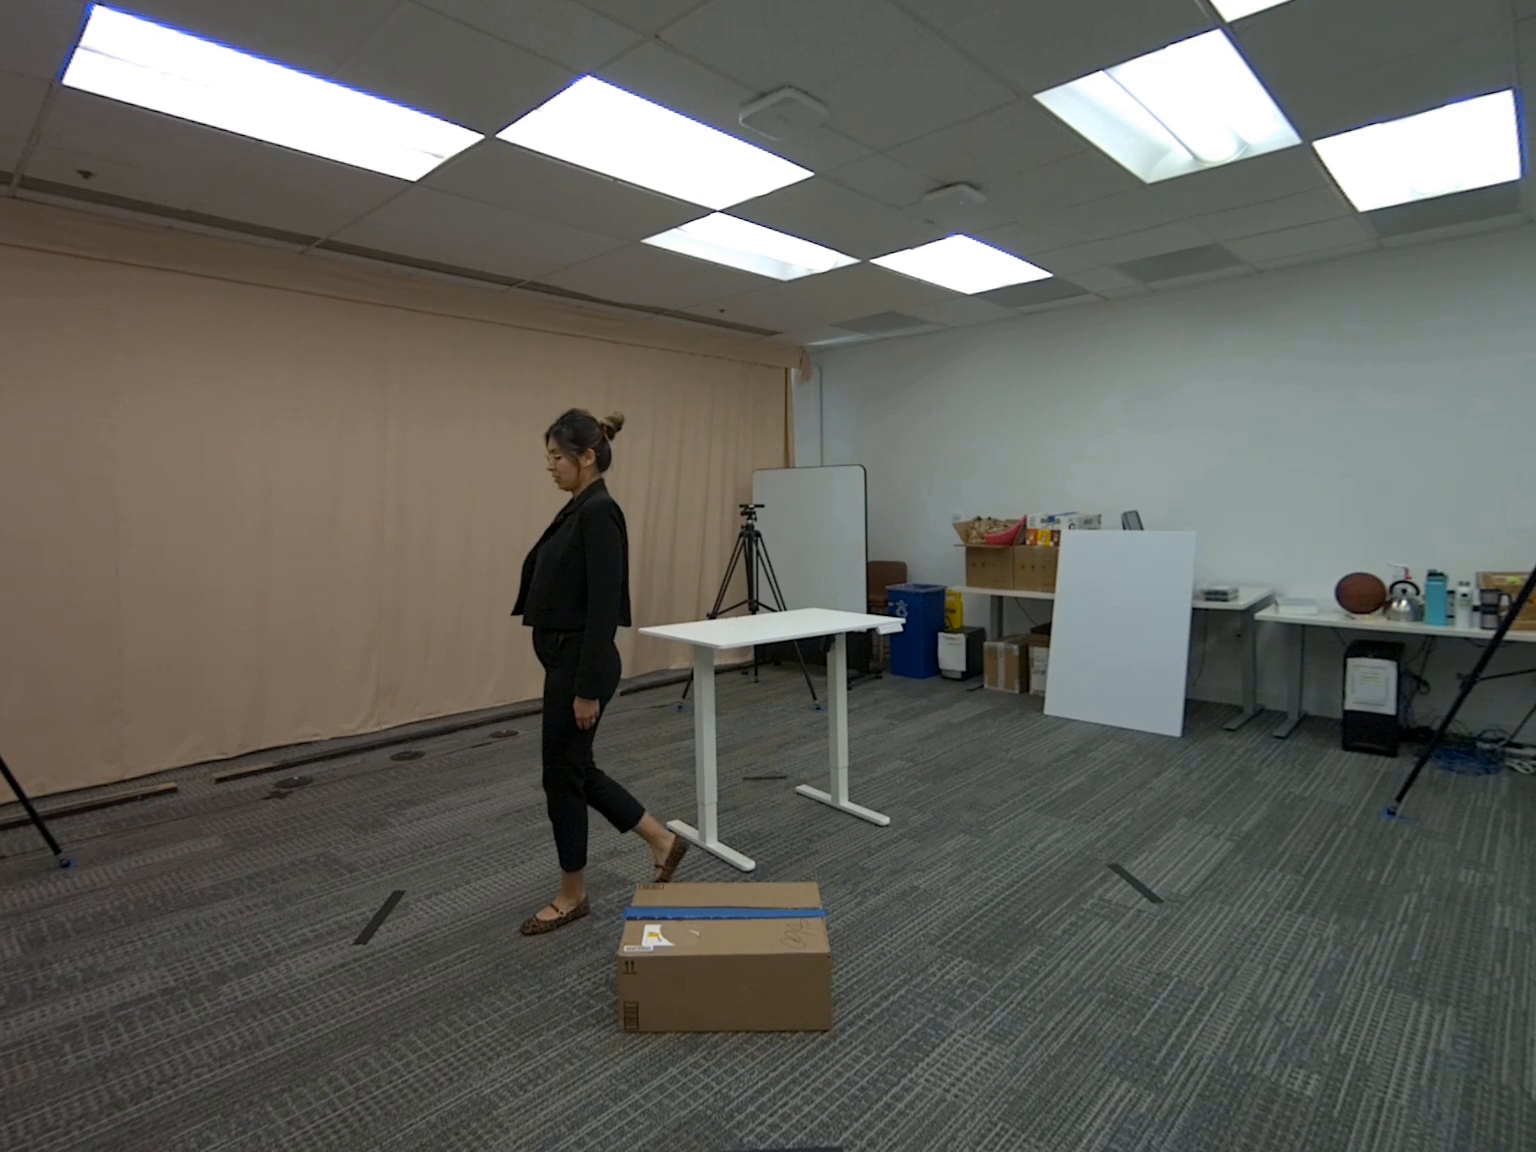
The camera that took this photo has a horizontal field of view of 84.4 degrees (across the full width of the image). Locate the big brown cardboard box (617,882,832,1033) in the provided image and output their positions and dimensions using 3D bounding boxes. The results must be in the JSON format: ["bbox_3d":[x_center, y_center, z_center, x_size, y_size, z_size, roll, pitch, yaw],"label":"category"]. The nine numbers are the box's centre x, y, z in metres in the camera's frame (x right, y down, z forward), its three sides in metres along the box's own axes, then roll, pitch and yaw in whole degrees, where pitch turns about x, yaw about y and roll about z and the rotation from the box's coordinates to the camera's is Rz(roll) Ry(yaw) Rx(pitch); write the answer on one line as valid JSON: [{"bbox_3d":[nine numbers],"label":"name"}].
[{"bbox_3d":[-0.118,1.078,2.420,0.589,0.232,0.418,0,5,0],"label":"big brown cardboard box"}]
